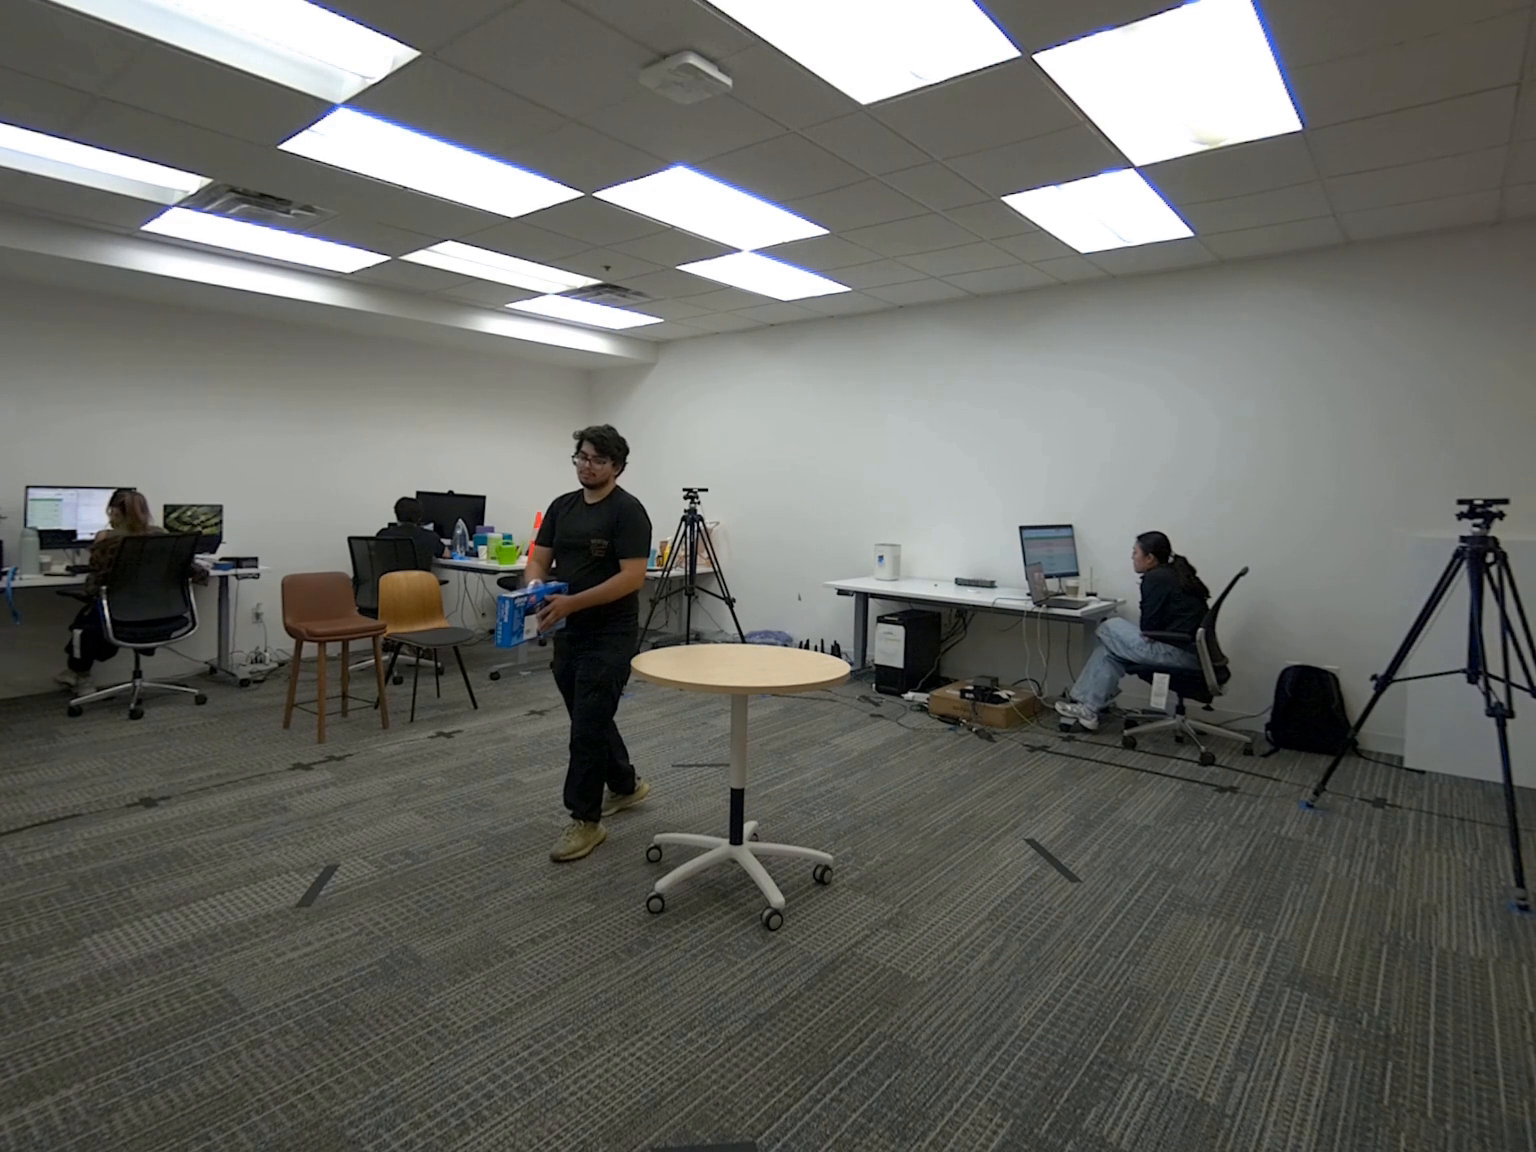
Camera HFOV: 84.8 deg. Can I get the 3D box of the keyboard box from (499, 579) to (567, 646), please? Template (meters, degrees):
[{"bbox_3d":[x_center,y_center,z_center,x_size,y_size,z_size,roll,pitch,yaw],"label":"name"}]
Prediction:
[{"bbox_3d":[-0.835,0.122,3.039,0.060,0.175,0.432,4,5,10],"label":"keyboard box"}]
